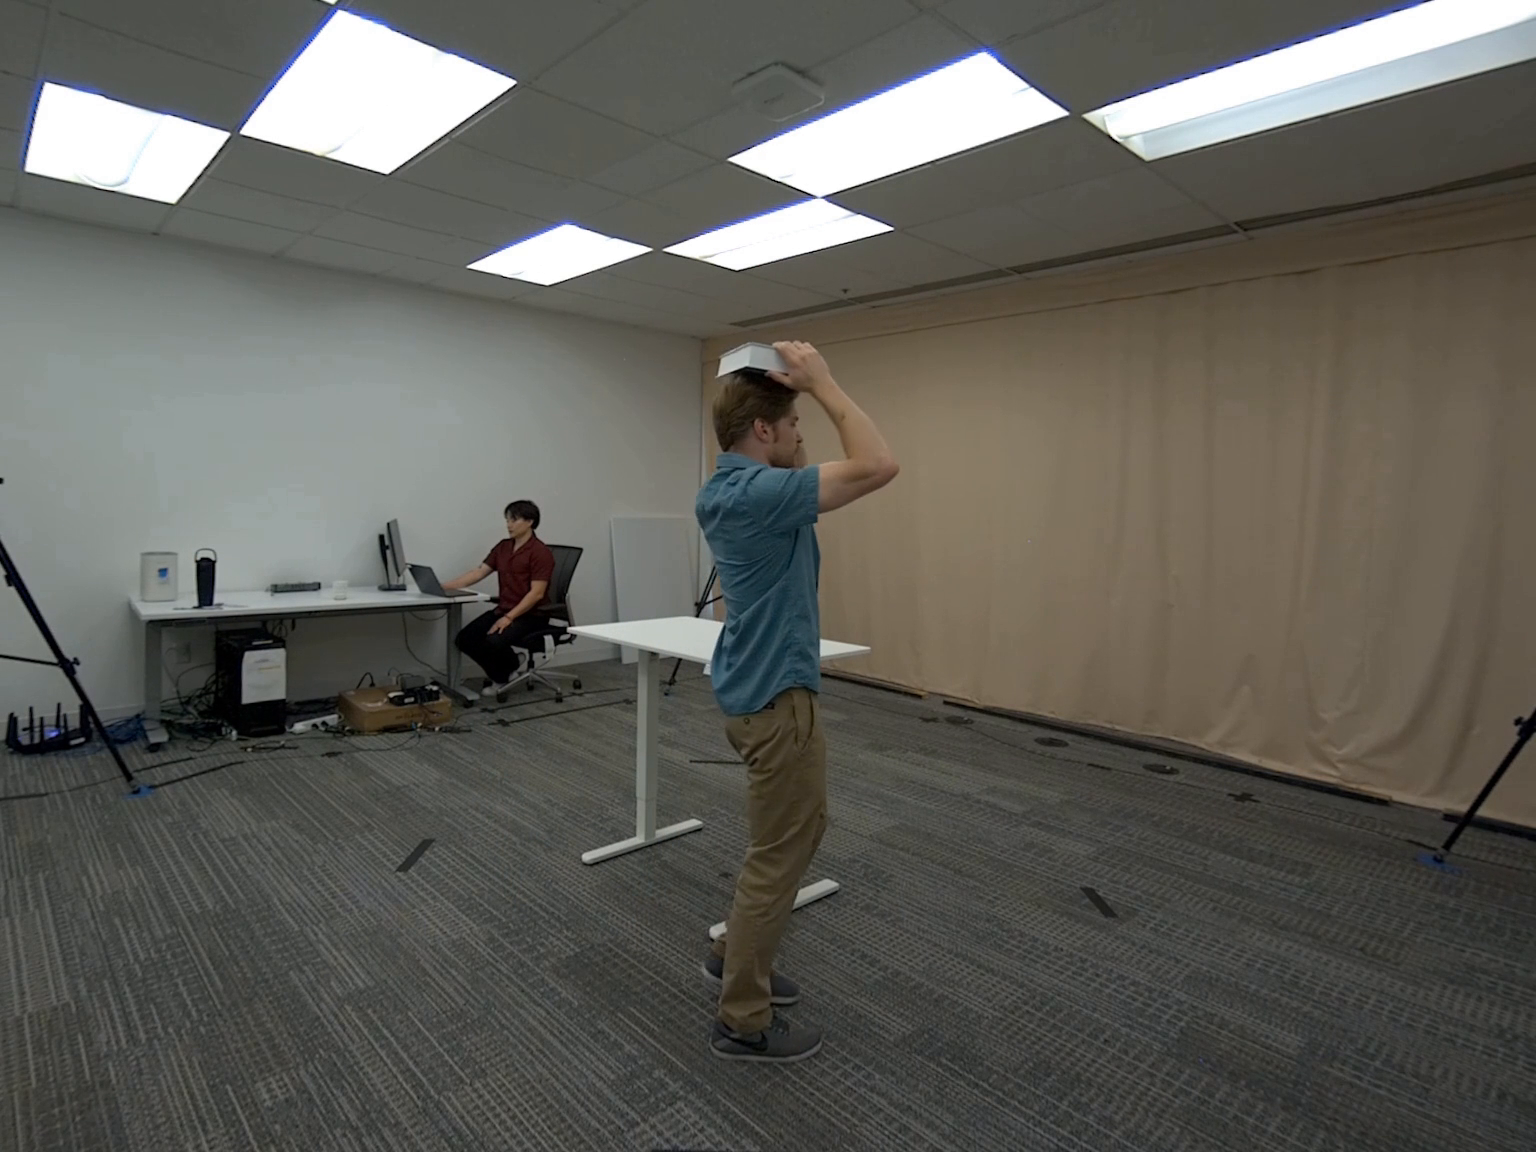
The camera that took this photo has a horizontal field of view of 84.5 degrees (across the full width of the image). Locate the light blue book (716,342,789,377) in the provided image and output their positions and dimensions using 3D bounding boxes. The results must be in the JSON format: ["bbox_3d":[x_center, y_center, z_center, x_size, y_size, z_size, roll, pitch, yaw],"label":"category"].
[{"bbox_3d":[-0.019,-0.519,2.098,0.189,0.059,0.265,6,3,-15],"label":"light blue book"}]
